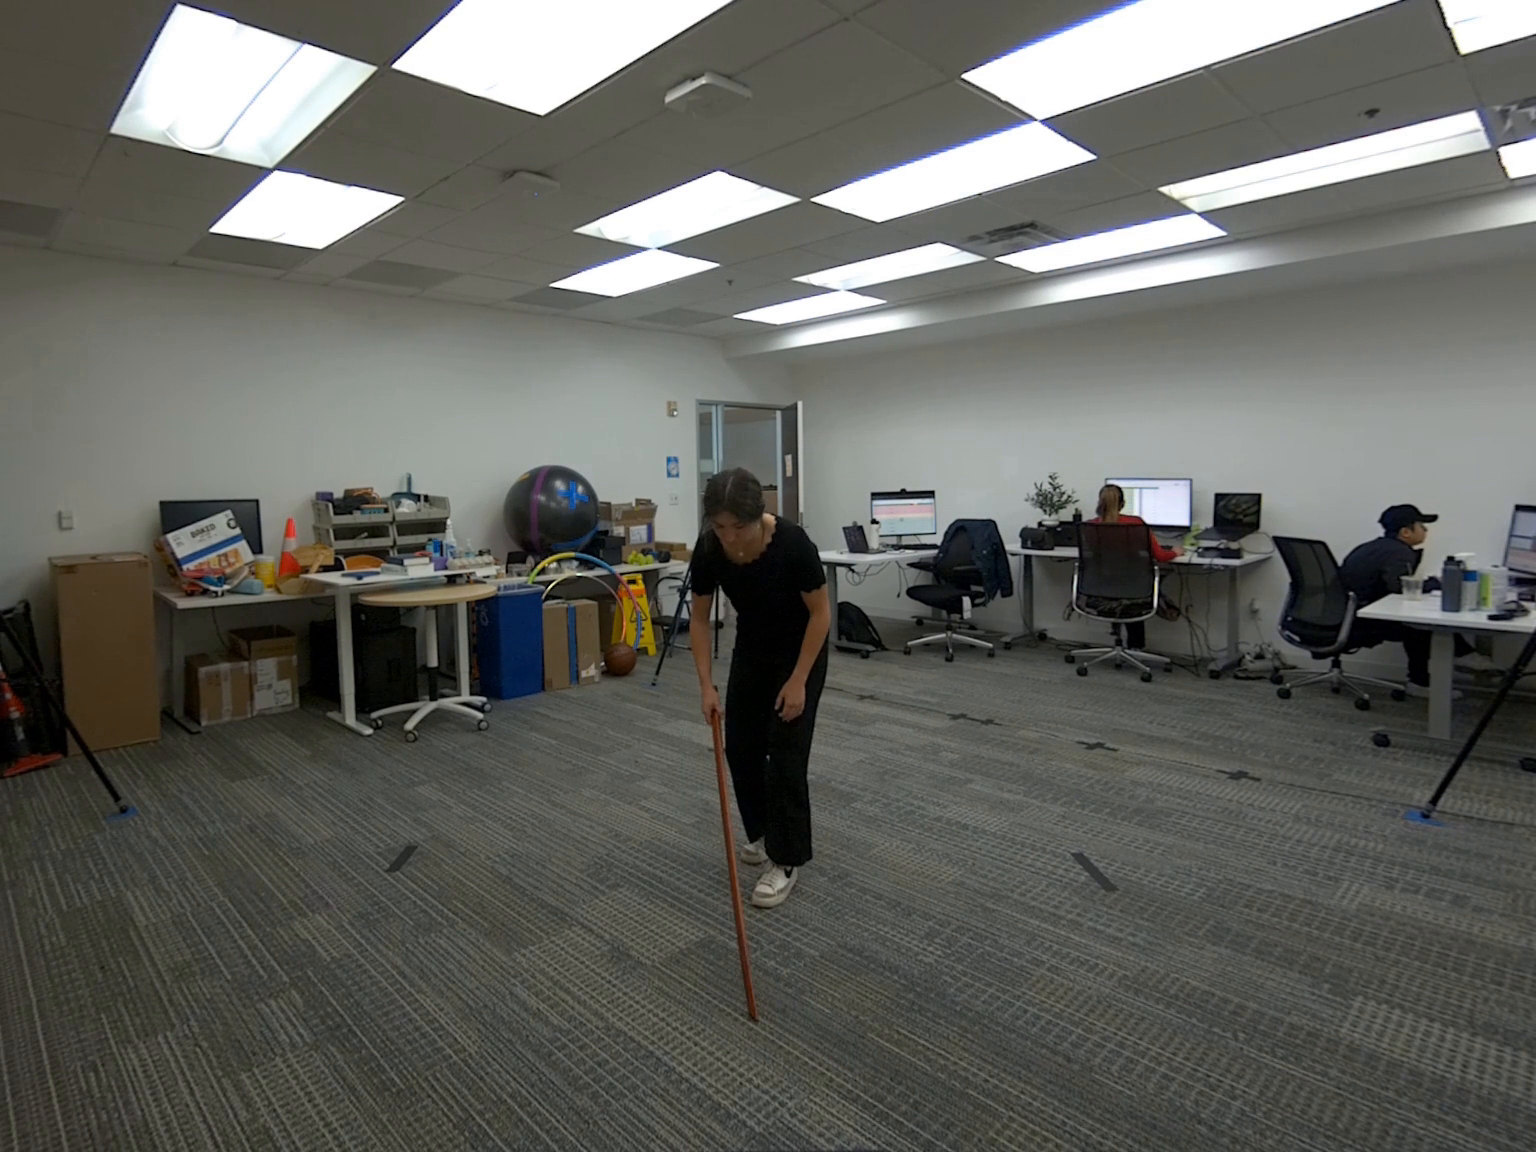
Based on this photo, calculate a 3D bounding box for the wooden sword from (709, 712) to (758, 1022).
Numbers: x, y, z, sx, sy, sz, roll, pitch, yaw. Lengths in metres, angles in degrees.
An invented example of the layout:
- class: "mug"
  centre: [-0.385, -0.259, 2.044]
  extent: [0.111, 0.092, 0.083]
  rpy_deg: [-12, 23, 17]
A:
- class: "wooden sword"
  centre: [-0.109, 0.784, 2.572]
  extent: [0.024, 1.059, 0.049]
  rpy_deg: [-36, -48, 21]
